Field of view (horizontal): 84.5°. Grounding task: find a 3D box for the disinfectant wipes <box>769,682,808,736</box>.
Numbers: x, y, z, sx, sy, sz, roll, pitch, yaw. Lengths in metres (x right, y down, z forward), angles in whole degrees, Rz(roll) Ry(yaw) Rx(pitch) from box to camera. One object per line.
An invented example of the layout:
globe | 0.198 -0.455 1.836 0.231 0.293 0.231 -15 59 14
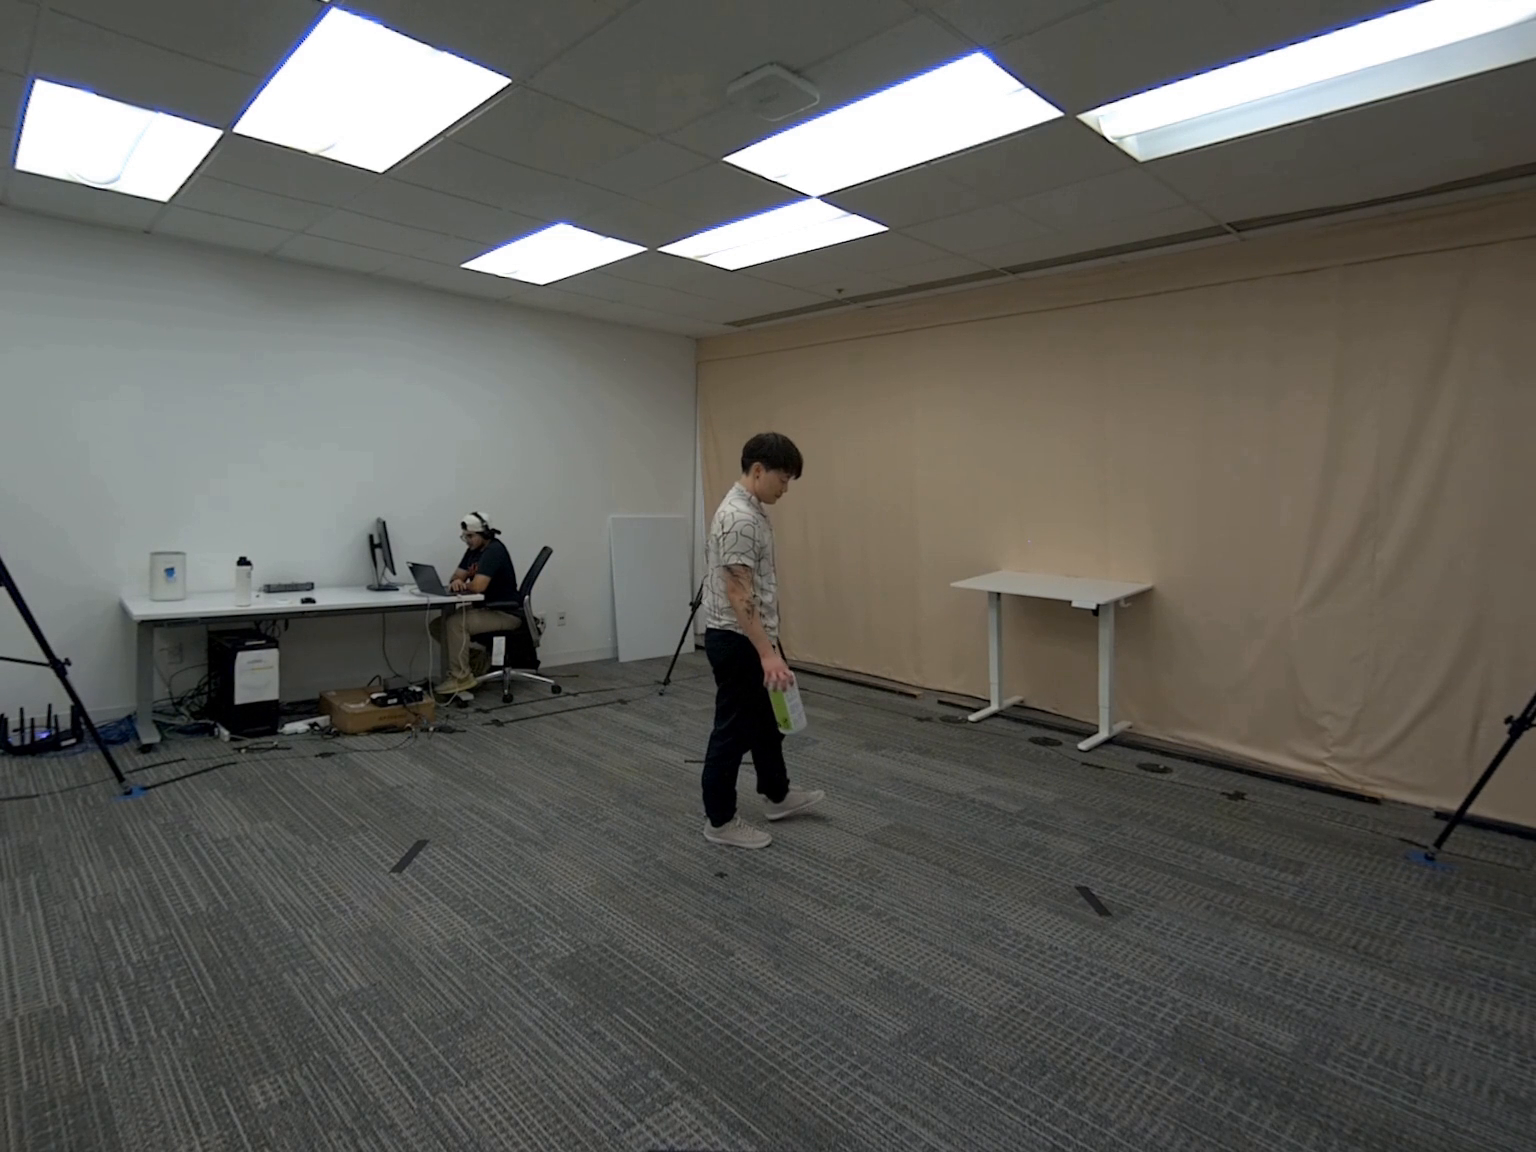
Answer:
disinfectant wipes | 0.054 0.468 3.112 0.118 0.214 0.119 -14 15 3
